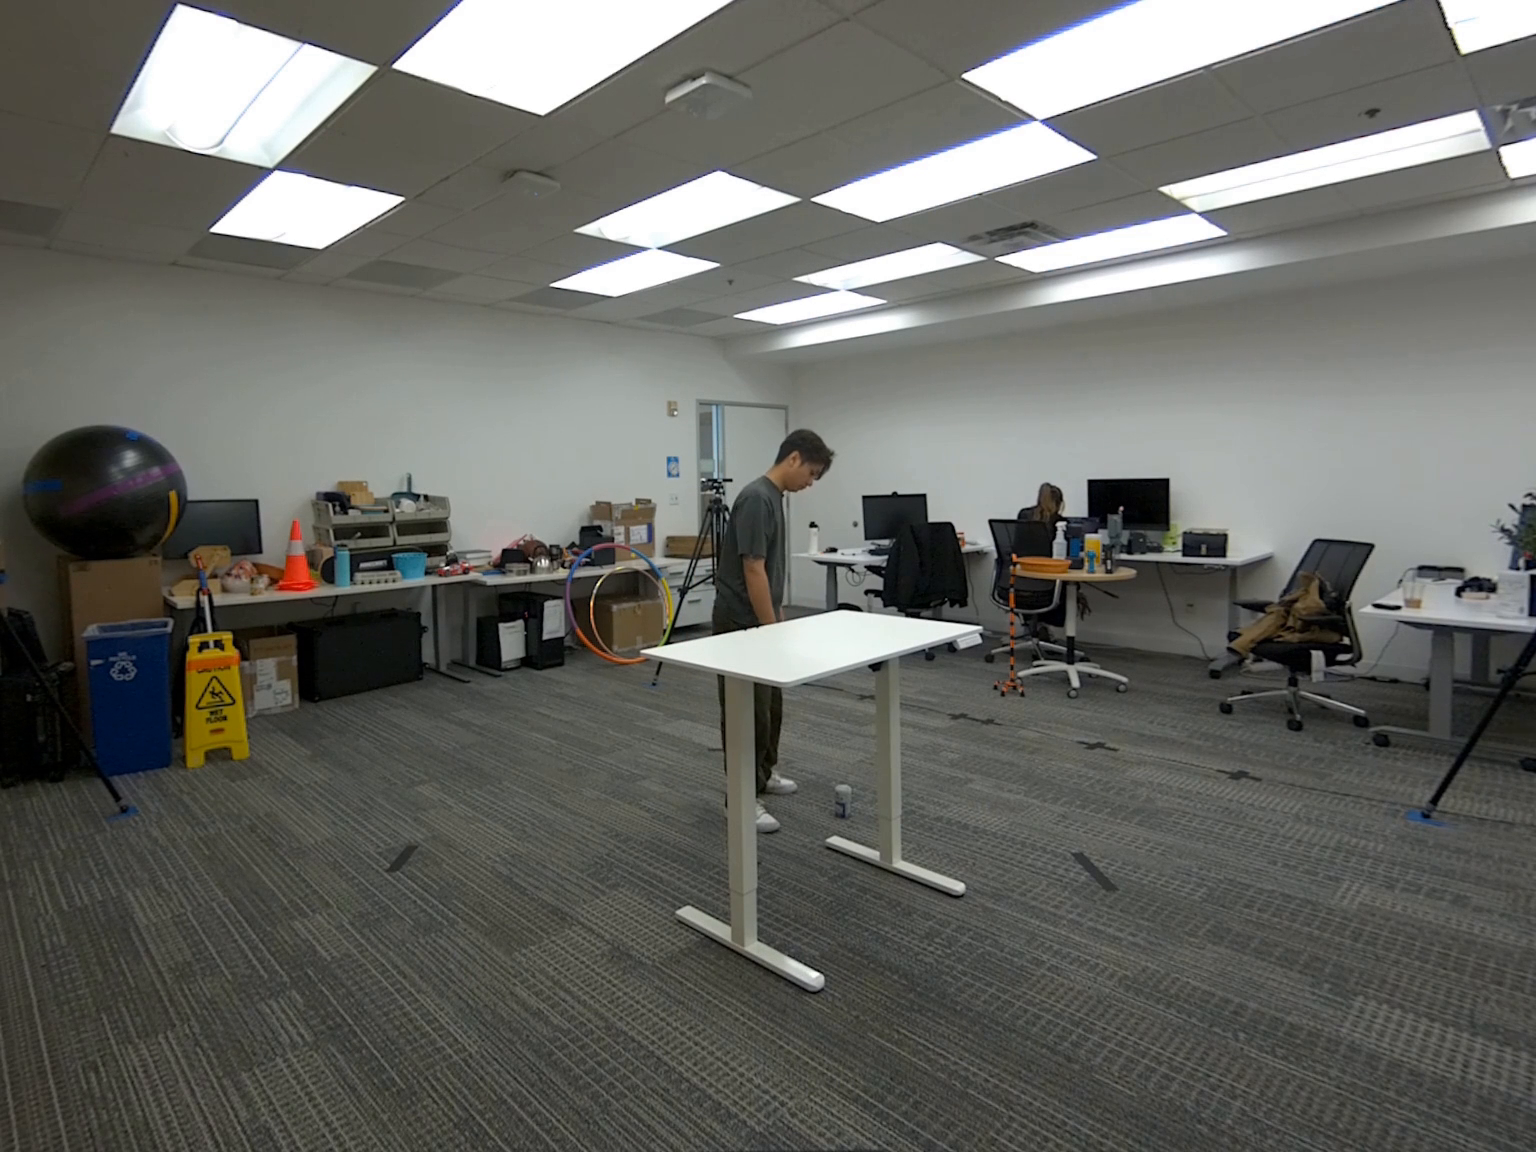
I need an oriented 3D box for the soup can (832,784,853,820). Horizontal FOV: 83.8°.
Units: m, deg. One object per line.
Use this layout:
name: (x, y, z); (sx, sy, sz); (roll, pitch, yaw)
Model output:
soup can: (0.308, 0.924, 3.523); (0.067, 0.121, 0.067); (1, 4, -2)
